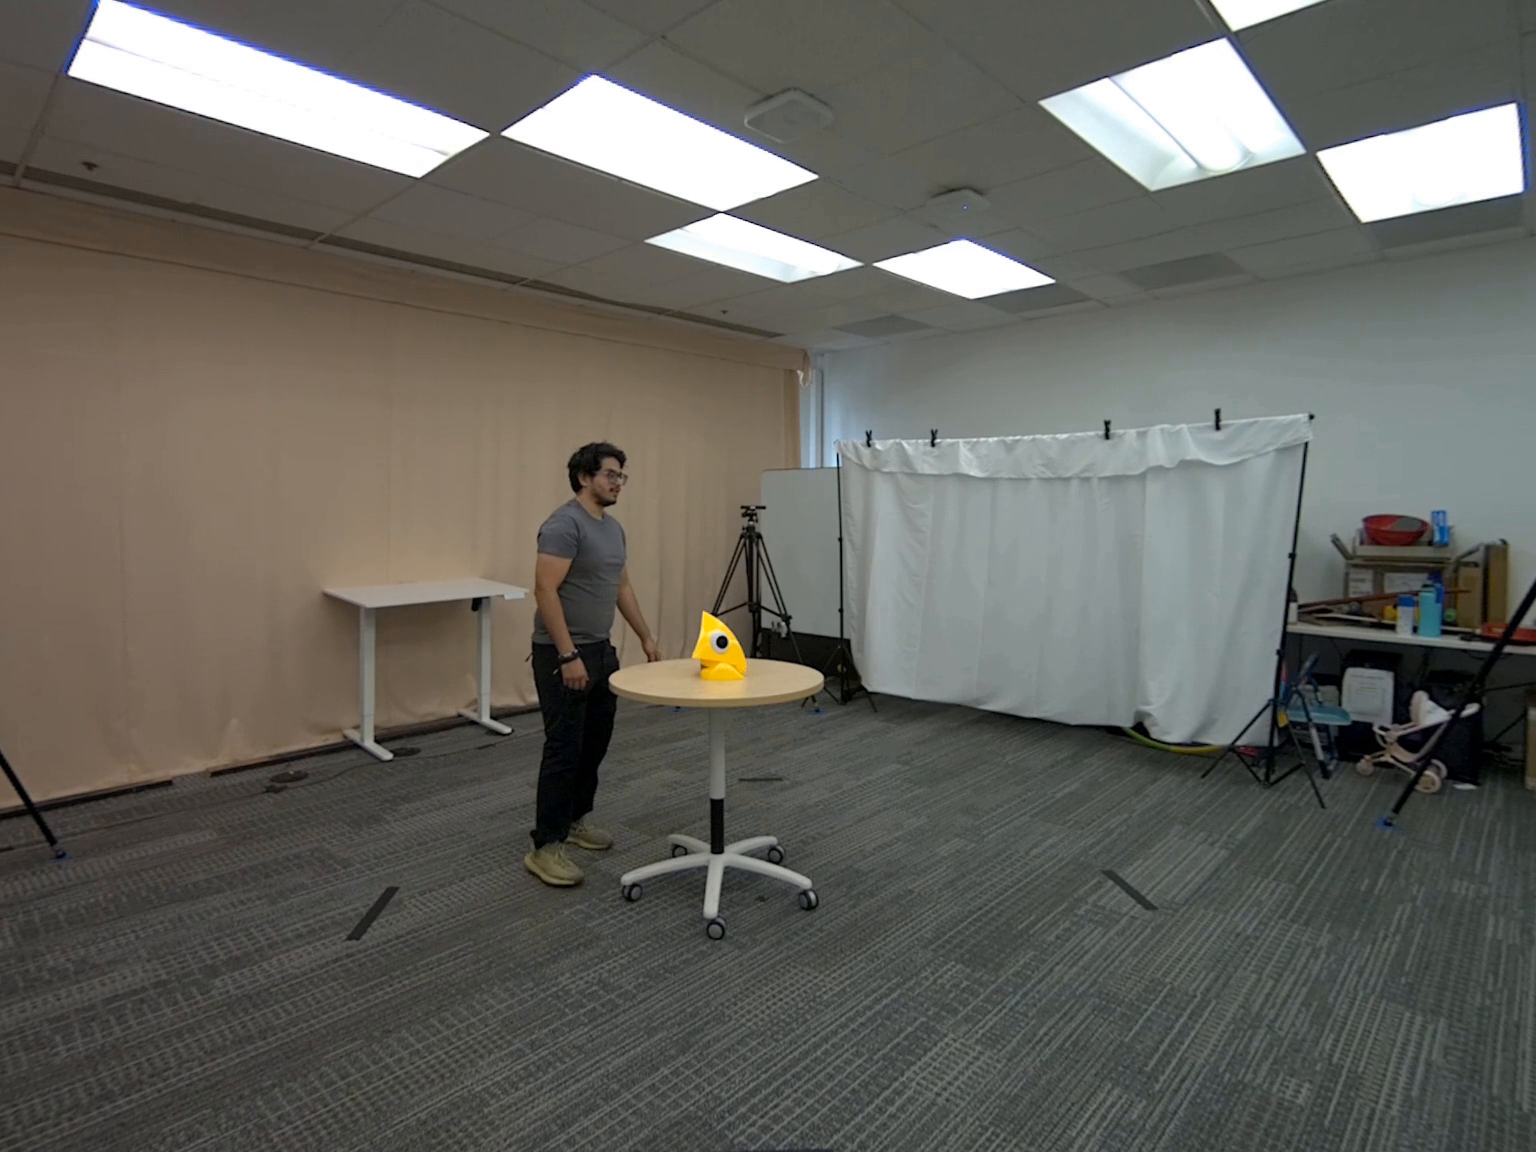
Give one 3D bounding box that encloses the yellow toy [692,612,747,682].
[{"bbox_3d":[-0.169,0.243,3.031,0.194,0.230,0.204,0,3,4],"label":"yellow toy"}]
